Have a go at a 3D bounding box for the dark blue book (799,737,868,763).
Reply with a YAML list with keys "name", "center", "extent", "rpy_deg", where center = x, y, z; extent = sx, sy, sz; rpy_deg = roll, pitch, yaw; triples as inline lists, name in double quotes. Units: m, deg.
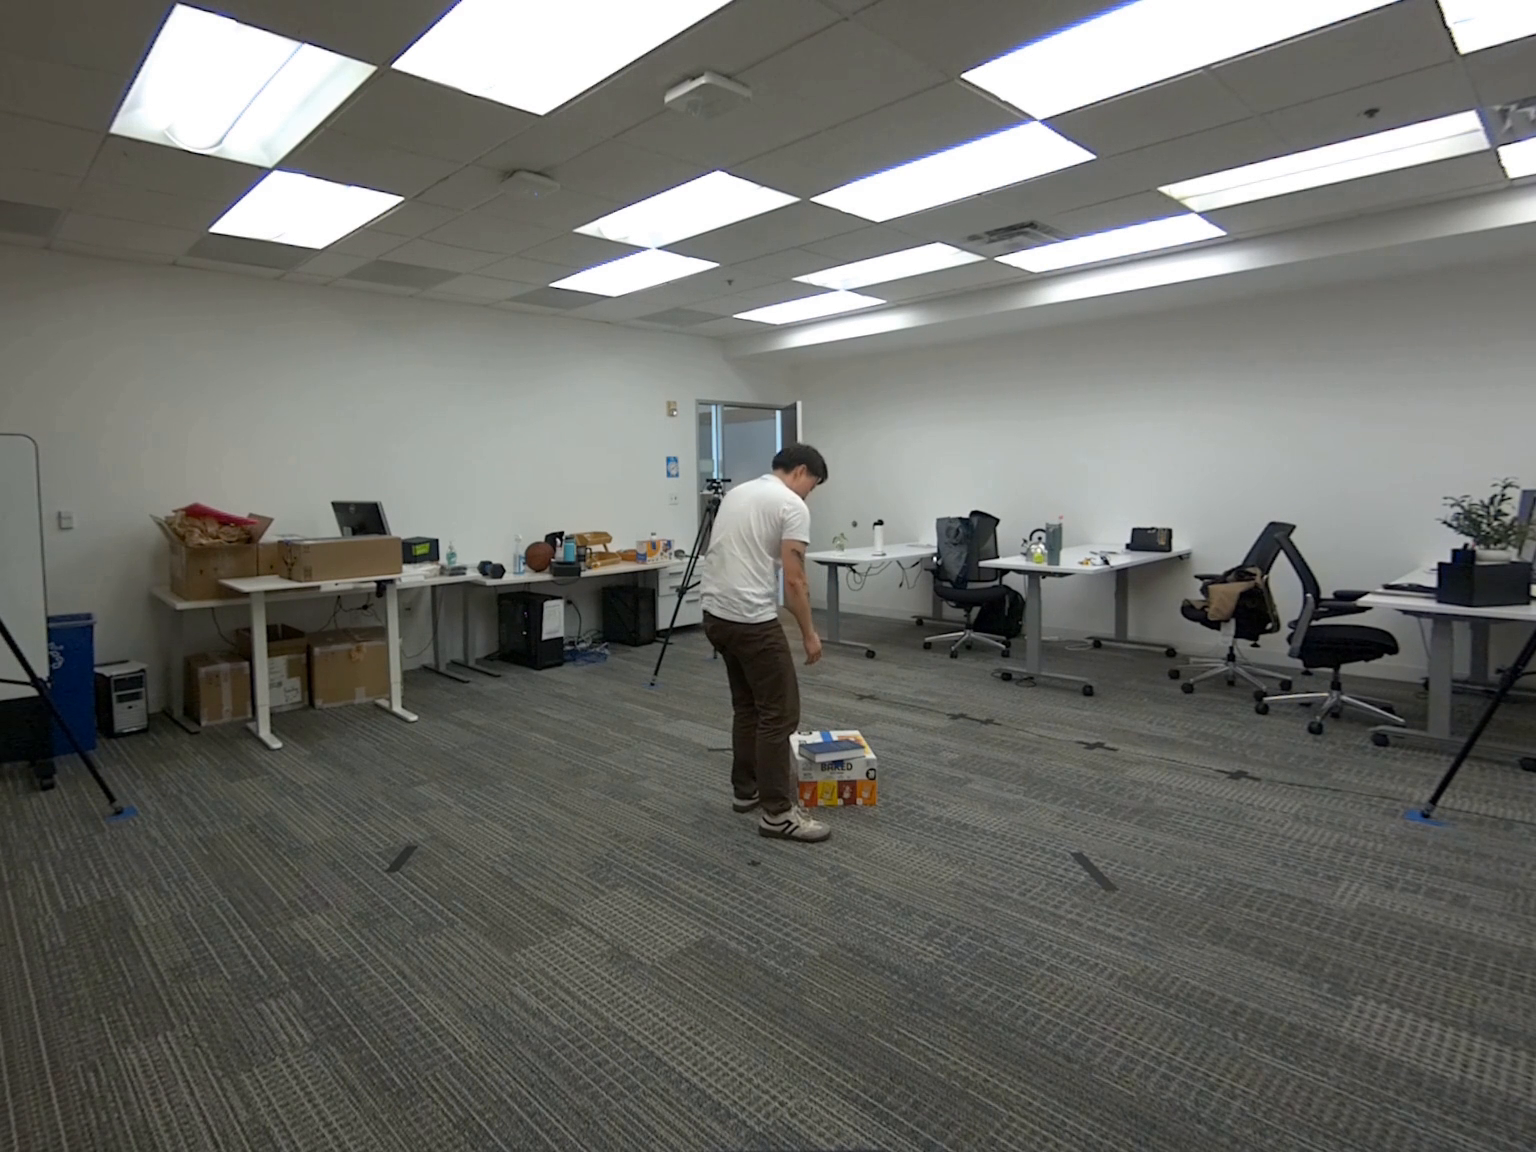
- name: "dark blue book"
  center: [0.277, 0.748, 3.683]
  extent: [0.240, 0.045, 0.167]
  rpy_deg: [-2, 3, -22]
